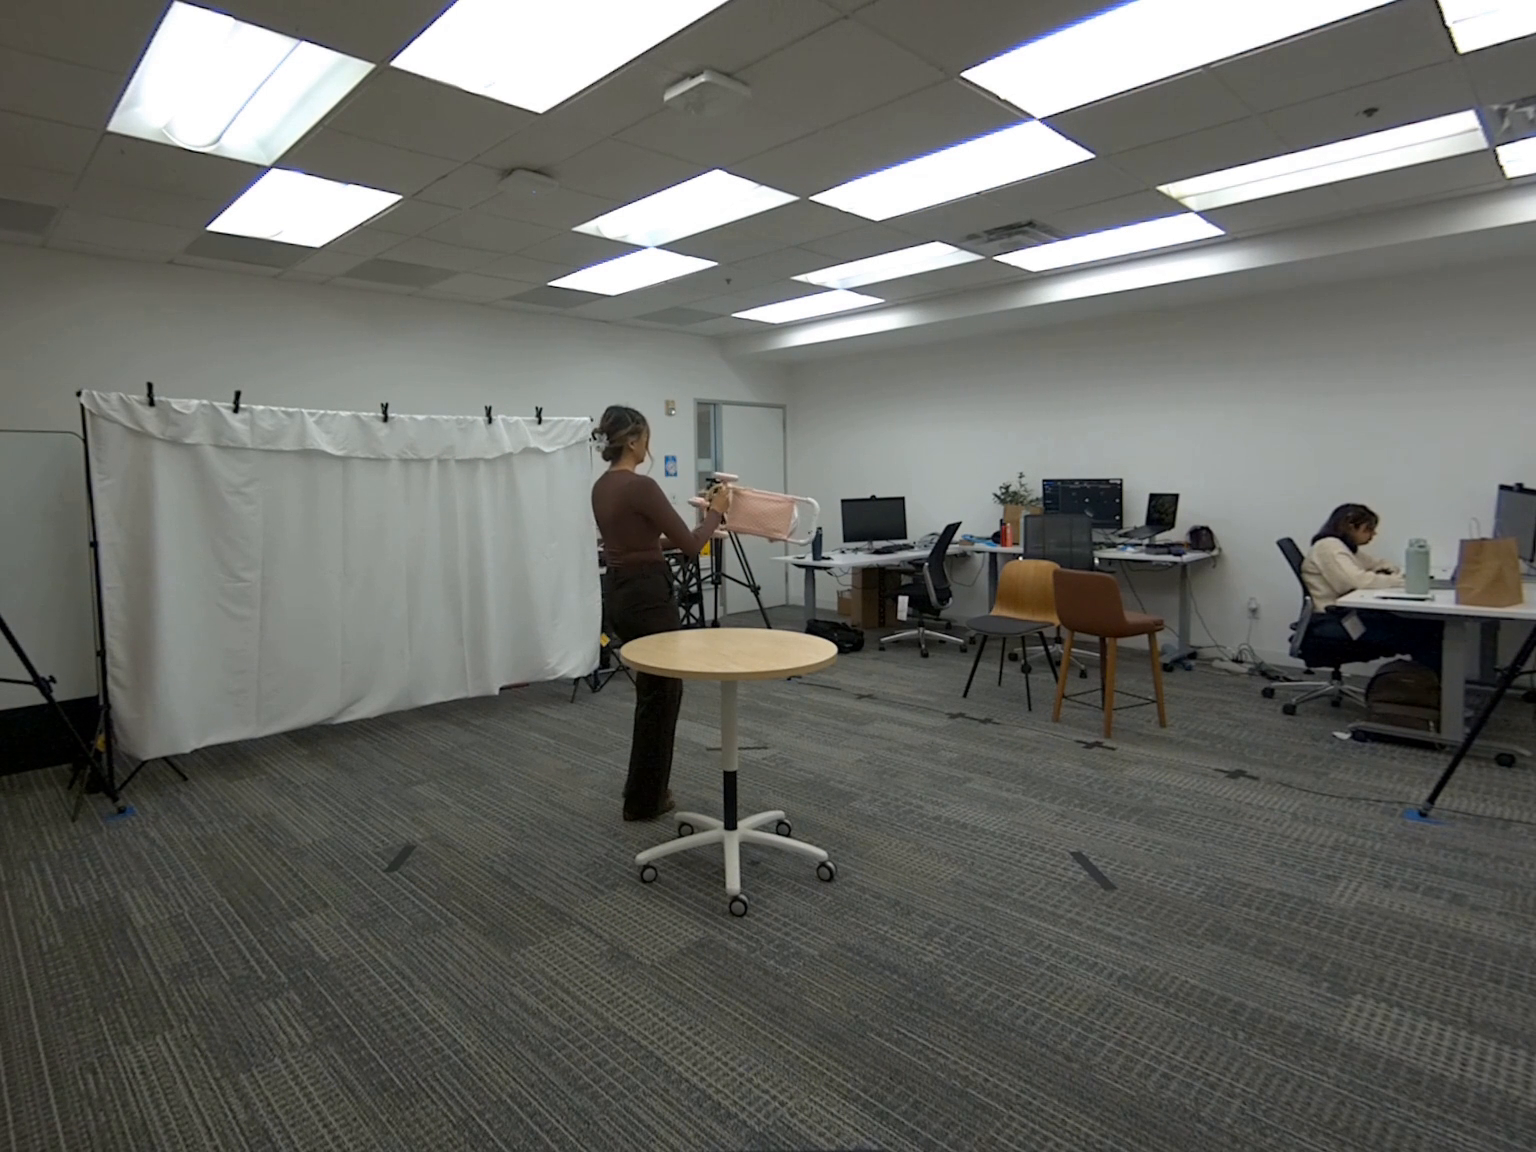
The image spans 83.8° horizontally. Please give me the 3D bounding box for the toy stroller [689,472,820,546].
[{"bbox_3d":[-0.076,-0.283,3.807,0.528,0.281,0.346,7,1,-12],"label":"toy stroller"}]
